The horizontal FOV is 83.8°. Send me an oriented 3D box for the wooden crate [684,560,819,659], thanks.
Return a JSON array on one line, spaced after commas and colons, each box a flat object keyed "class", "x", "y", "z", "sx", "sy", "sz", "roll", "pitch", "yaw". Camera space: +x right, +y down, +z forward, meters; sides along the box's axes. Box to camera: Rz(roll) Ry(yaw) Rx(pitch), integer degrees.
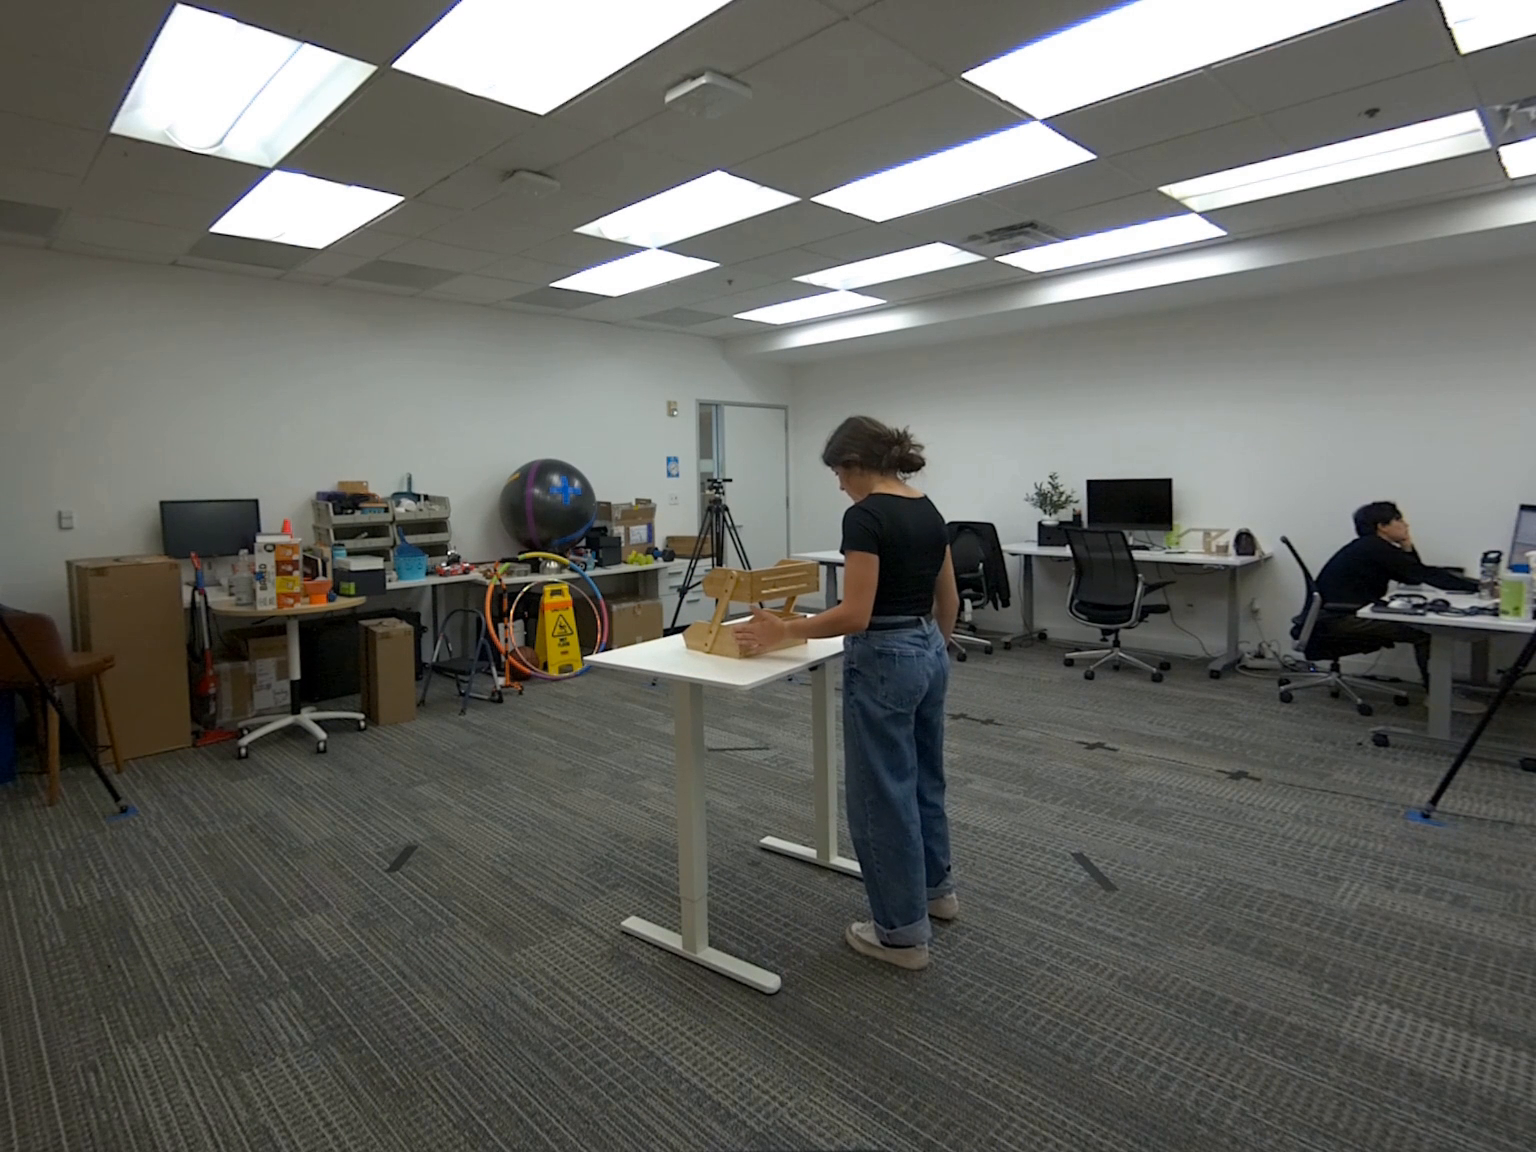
[{"class": "wooden crate", "x": -0.050, "y": 0.087, "z": 2.625, "sx": 0.316, "sy": 0.272, "sz": 0.311, "roll": -7, "pitch": 9, "yaw": -44}]
